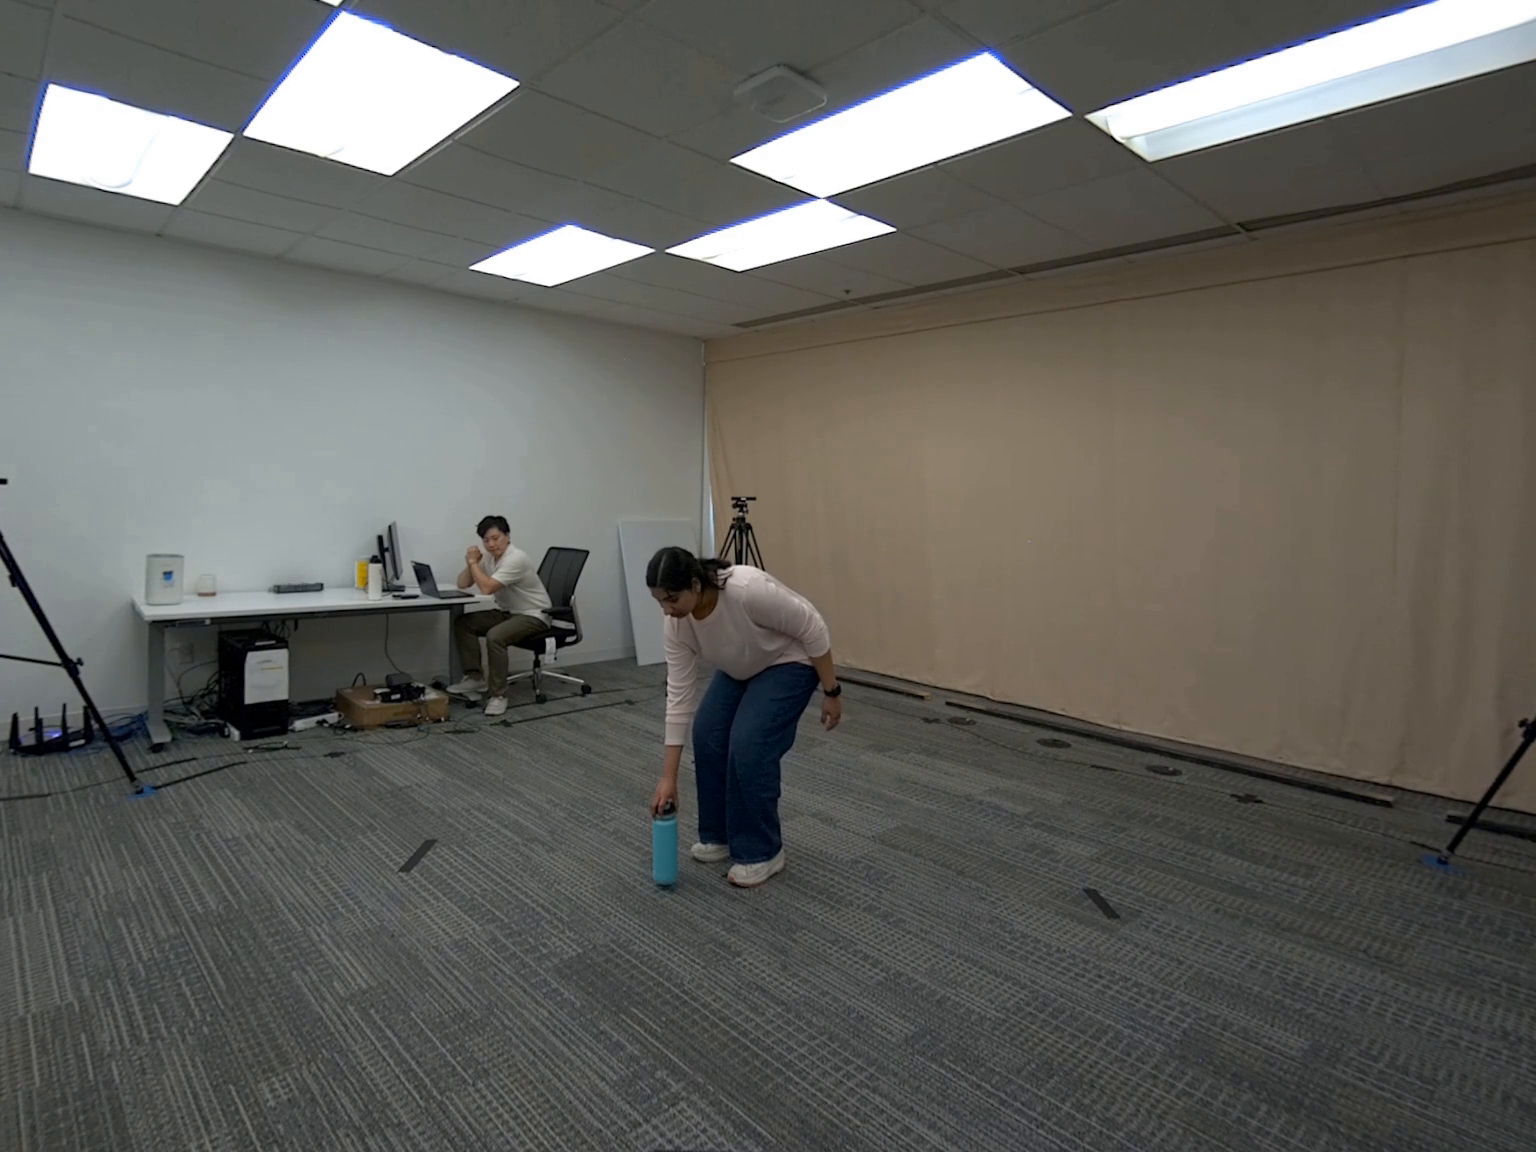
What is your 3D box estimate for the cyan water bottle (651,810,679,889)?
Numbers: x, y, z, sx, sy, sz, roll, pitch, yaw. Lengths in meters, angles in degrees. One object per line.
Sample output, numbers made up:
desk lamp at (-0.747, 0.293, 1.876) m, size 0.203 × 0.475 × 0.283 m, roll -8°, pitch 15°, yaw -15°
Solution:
cyan water bottle at (-0.374, 0.938, 2.986) m, size 0.092 × 0.282 × 0.093 m, roll 2°, pitch 5°, yaw -2°
